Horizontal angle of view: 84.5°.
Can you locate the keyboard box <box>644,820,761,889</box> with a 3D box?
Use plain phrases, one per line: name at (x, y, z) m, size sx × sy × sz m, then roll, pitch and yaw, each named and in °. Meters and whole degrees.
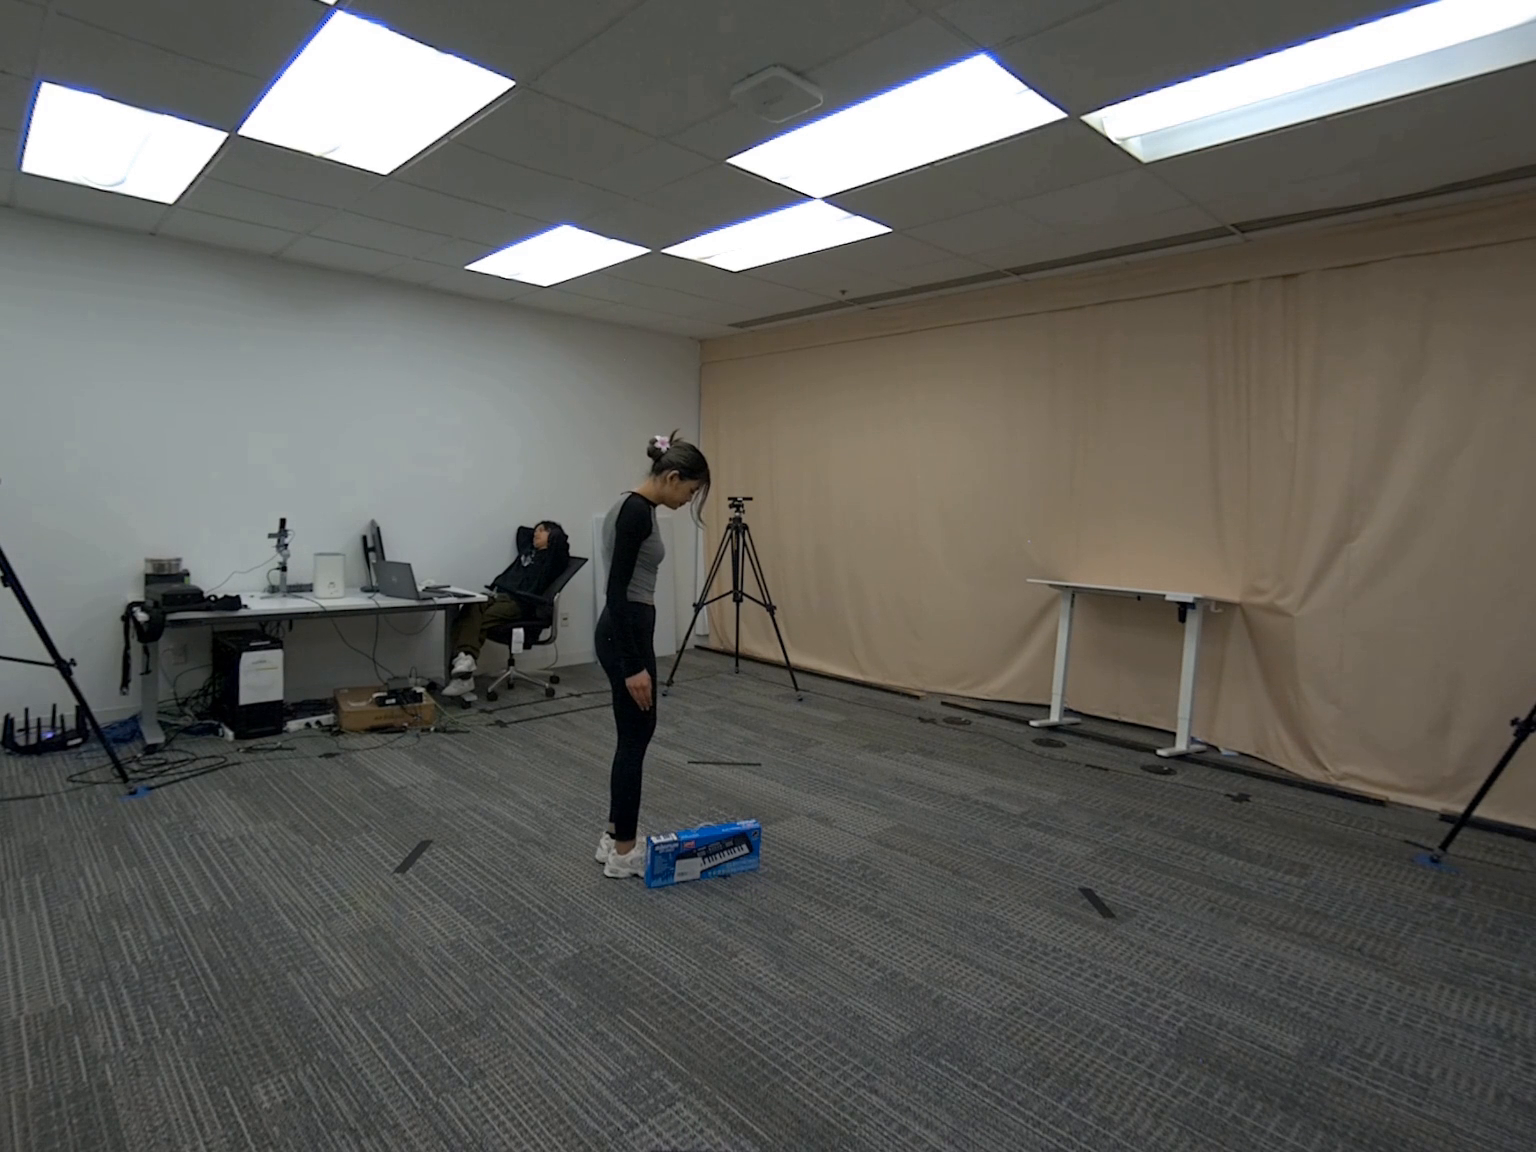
keyboard box at (-0.244, 1.023, 3.087) m, size 0.429 × 0.175 × 0.060 m, roll -1°, pitch 11°, yaw -26°
